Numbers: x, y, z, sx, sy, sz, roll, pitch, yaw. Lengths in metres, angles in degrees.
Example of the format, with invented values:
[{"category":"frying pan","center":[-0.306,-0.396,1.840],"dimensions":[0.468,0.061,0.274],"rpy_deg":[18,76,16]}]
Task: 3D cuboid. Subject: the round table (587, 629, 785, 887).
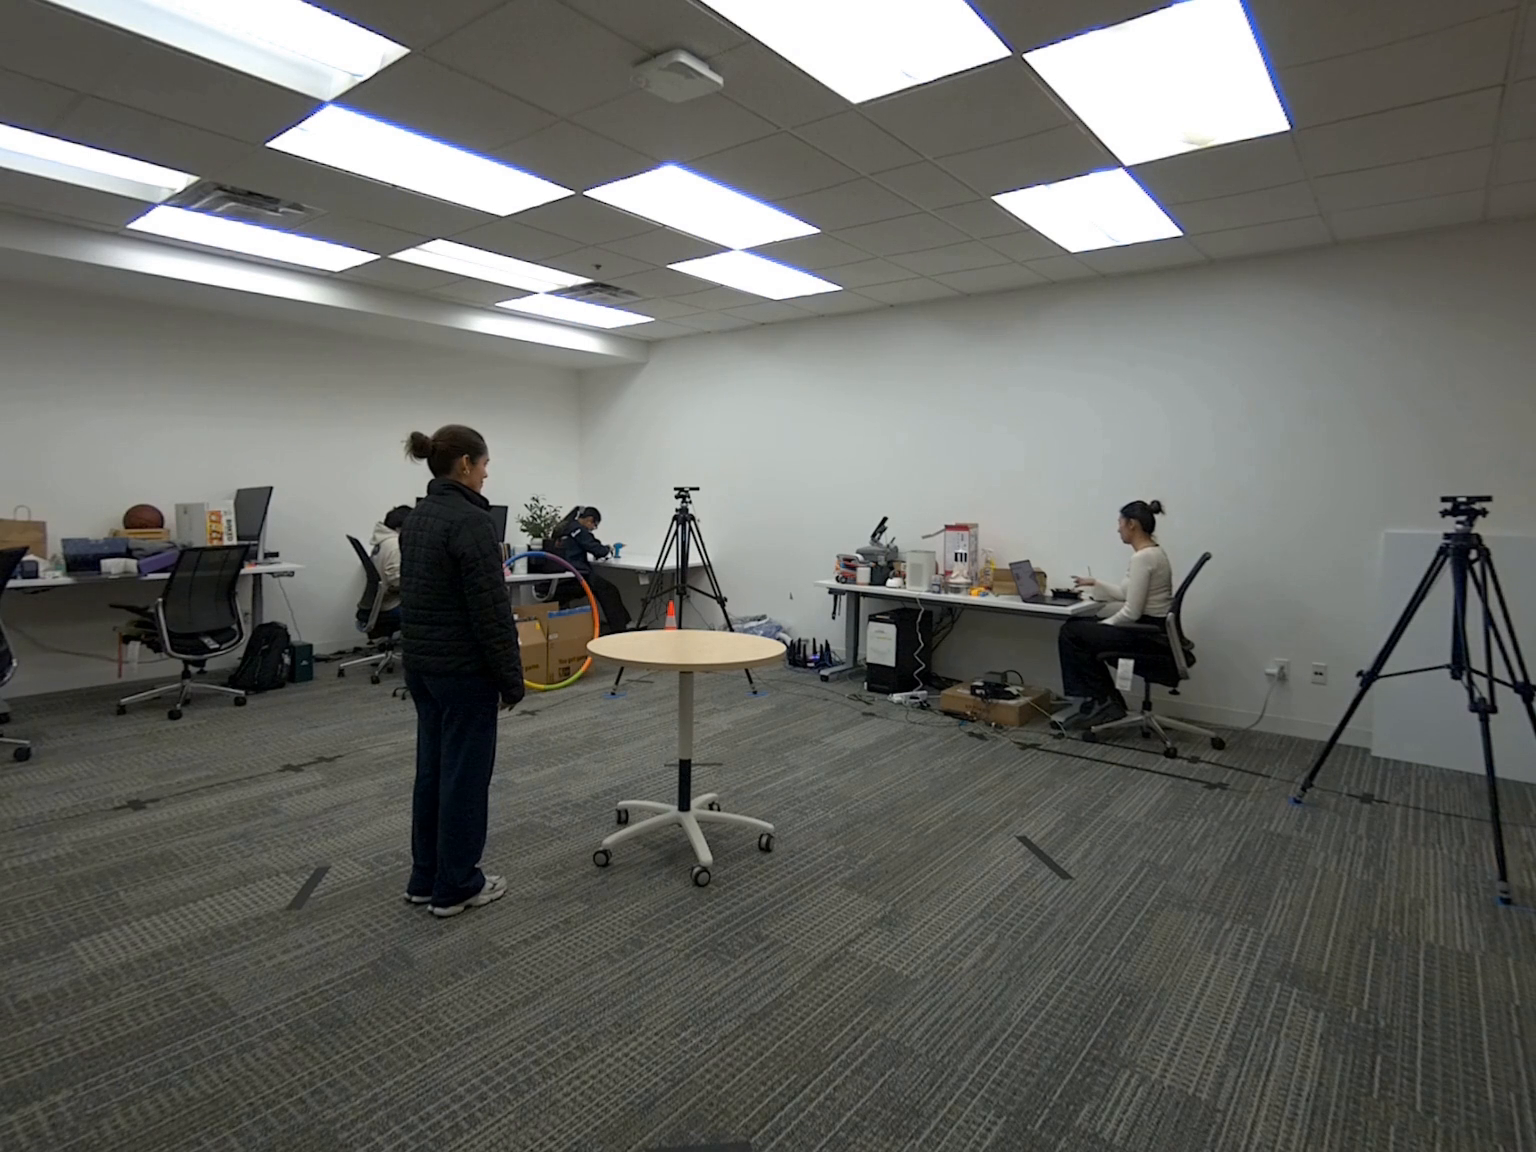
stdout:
[{"category":"round table","center":[-0.323,0.653,3.304],"dimensions":[0.784,0.784,0.788],"rpy_deg":[1,3,-2]}]
